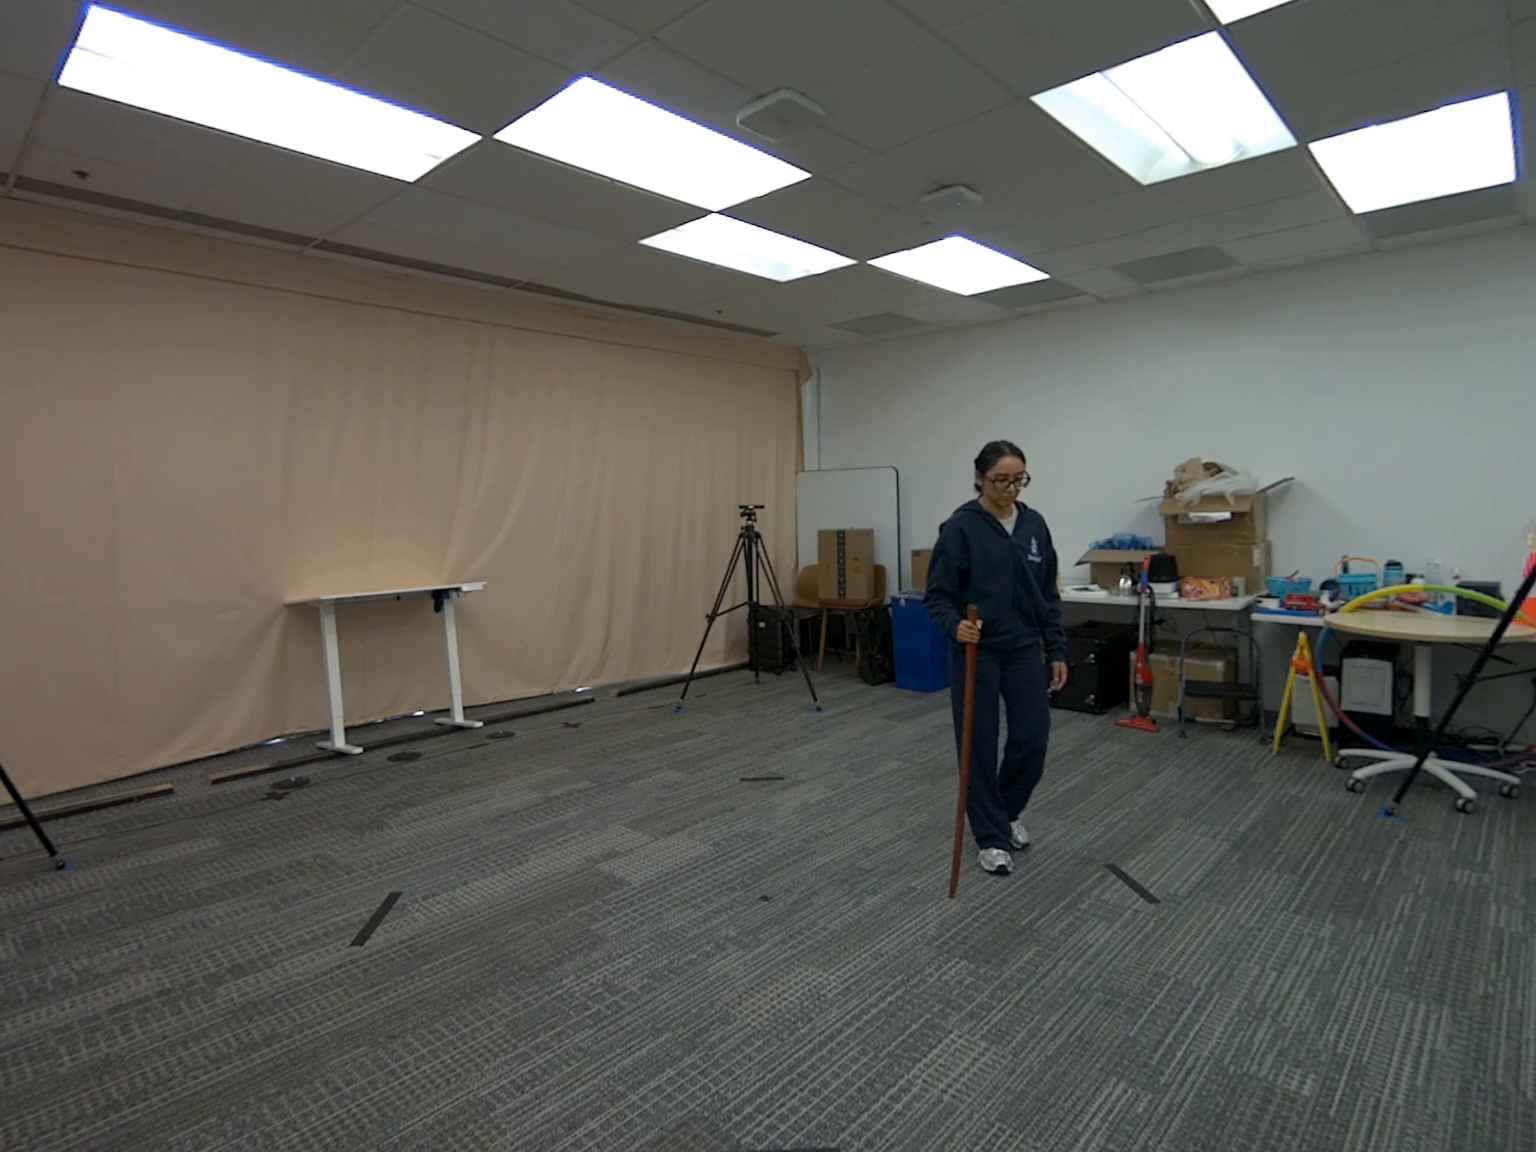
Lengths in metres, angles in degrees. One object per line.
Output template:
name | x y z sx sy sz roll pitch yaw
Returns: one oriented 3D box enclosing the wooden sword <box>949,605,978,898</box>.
wooden sword | 0.697 0.634 2.985 0.050 1.026 0.025 5 -3 -31
